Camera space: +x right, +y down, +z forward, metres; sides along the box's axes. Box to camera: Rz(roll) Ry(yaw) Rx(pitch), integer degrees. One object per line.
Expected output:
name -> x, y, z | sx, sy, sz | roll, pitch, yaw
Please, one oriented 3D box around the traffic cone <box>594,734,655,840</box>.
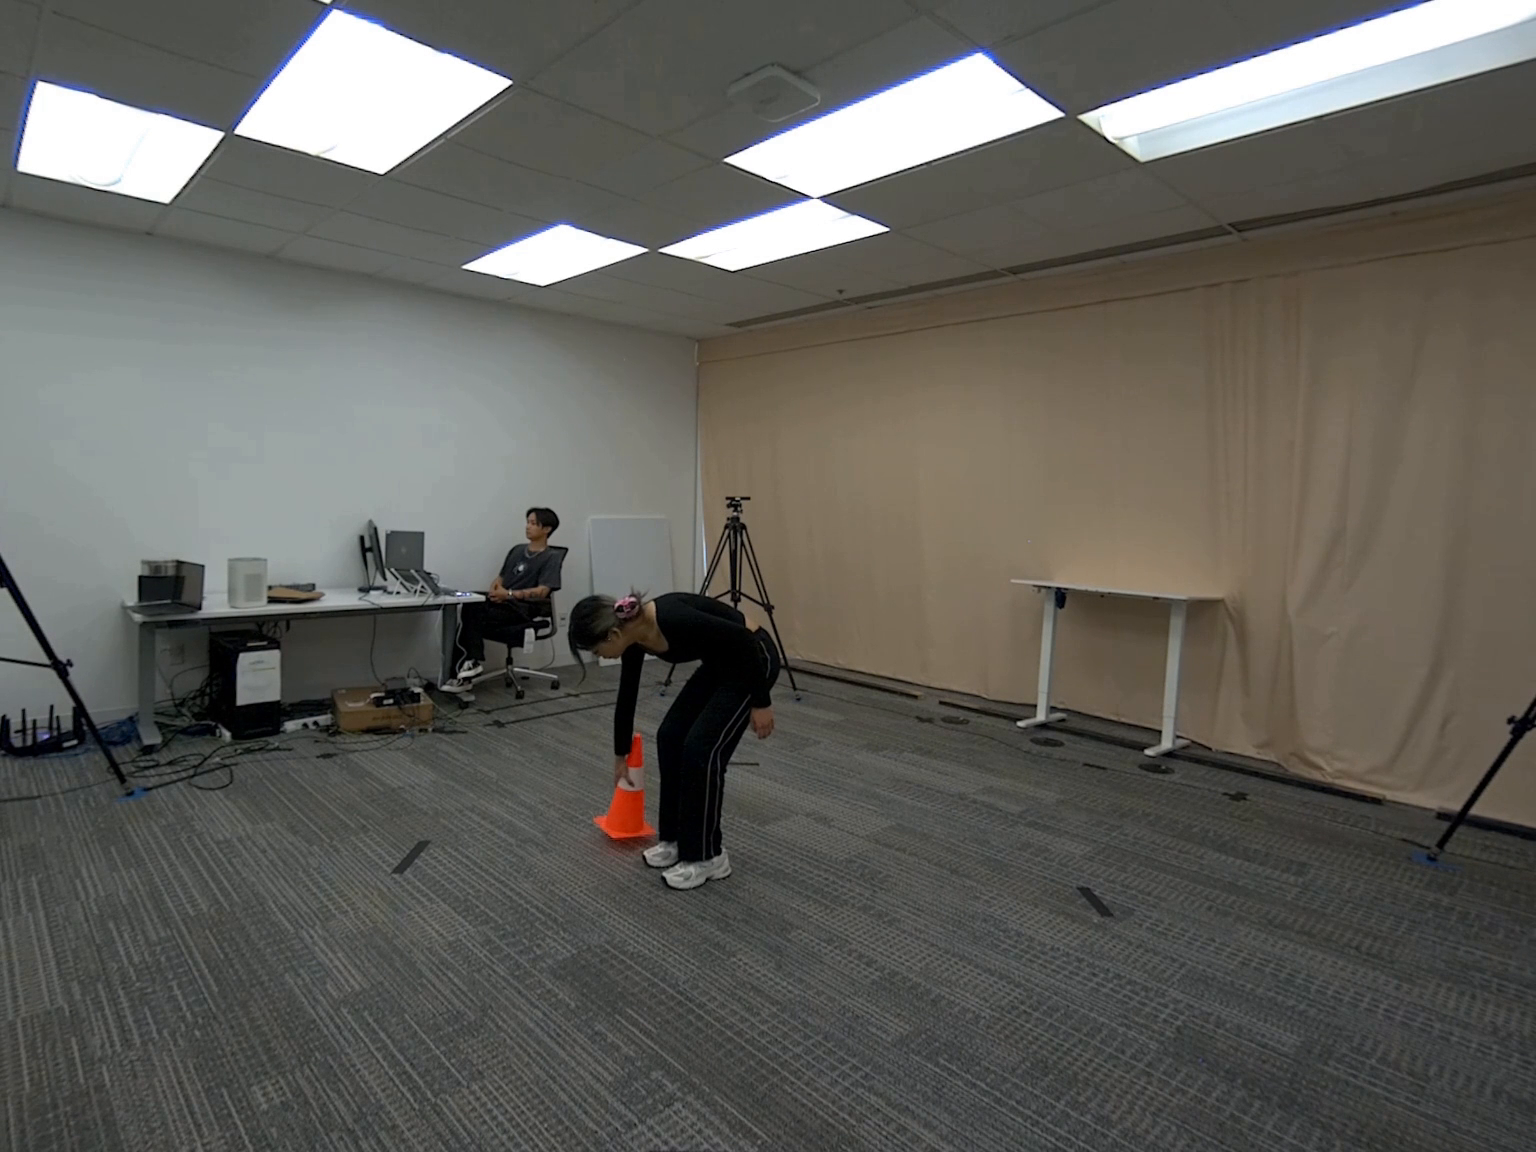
traffic cone -> -0.563, 0.827, 3.387 | 0.200, 0.382, 0.209 | 5, 6, -34
